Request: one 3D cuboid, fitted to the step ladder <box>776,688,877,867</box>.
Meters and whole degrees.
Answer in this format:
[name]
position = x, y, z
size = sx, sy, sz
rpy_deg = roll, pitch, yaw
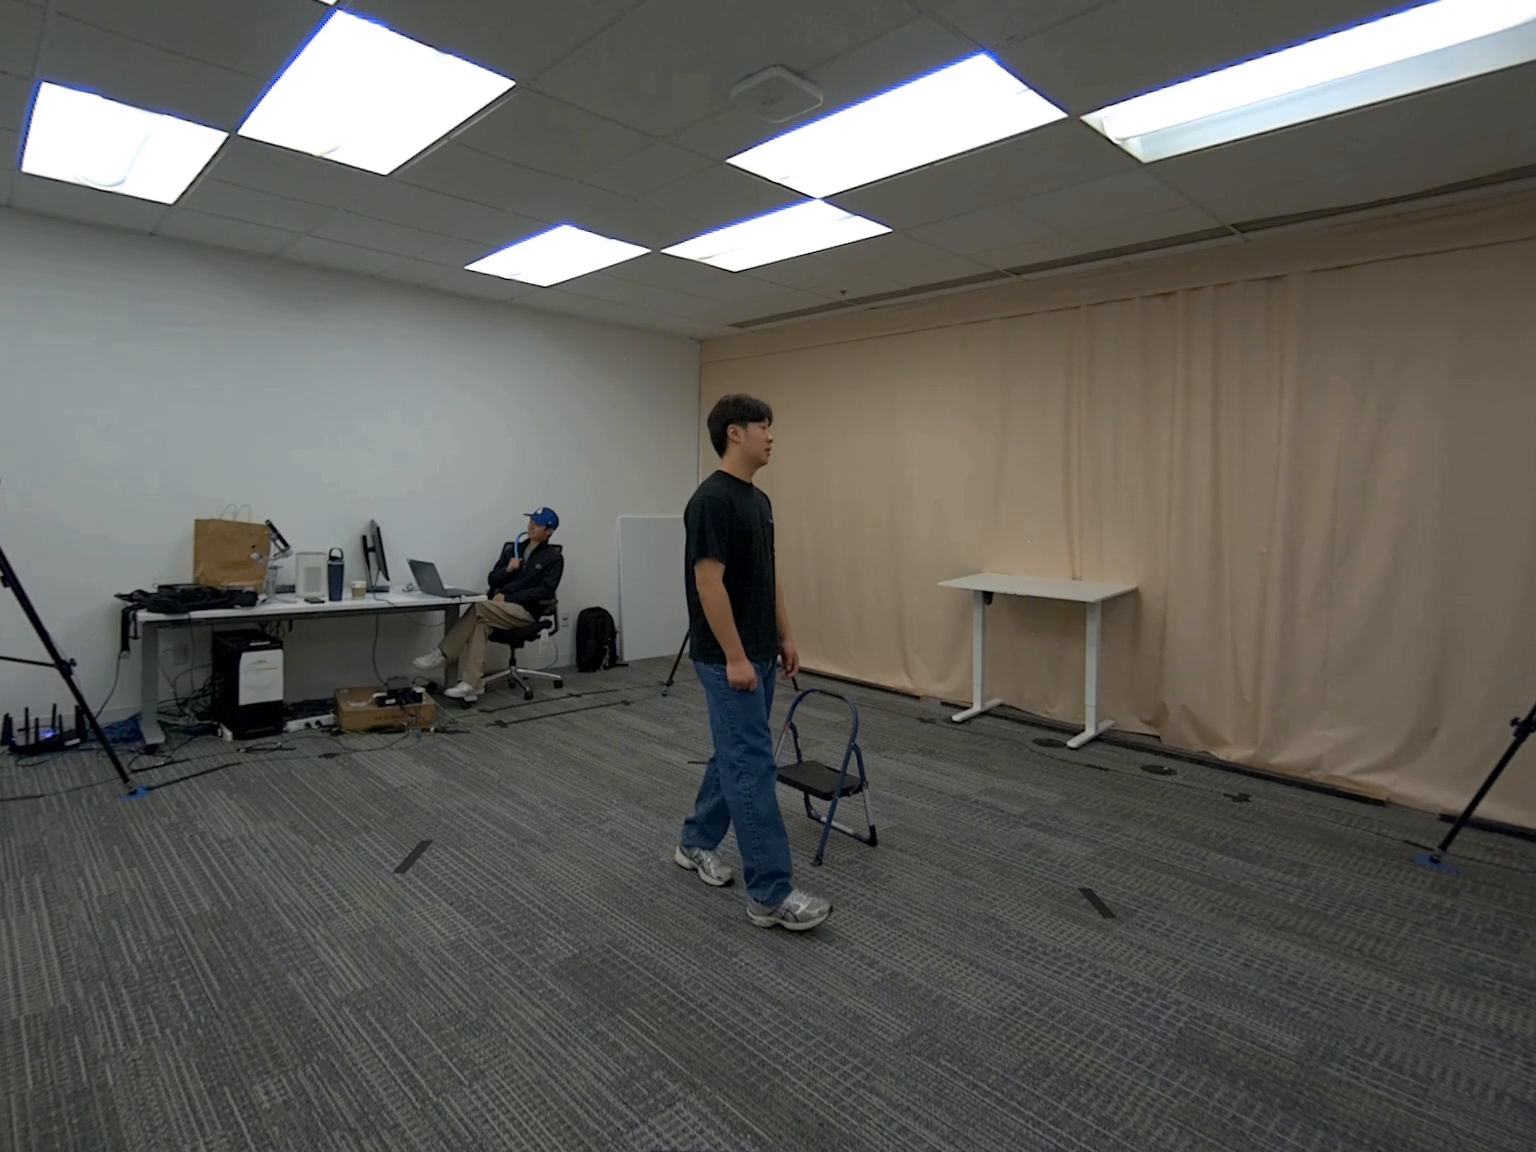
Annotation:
[step ladder]
position = 0.186, 0.781, 3.460
size = 0.341, 0.605, 0.441
rpy_deg = -1, 3, -38
